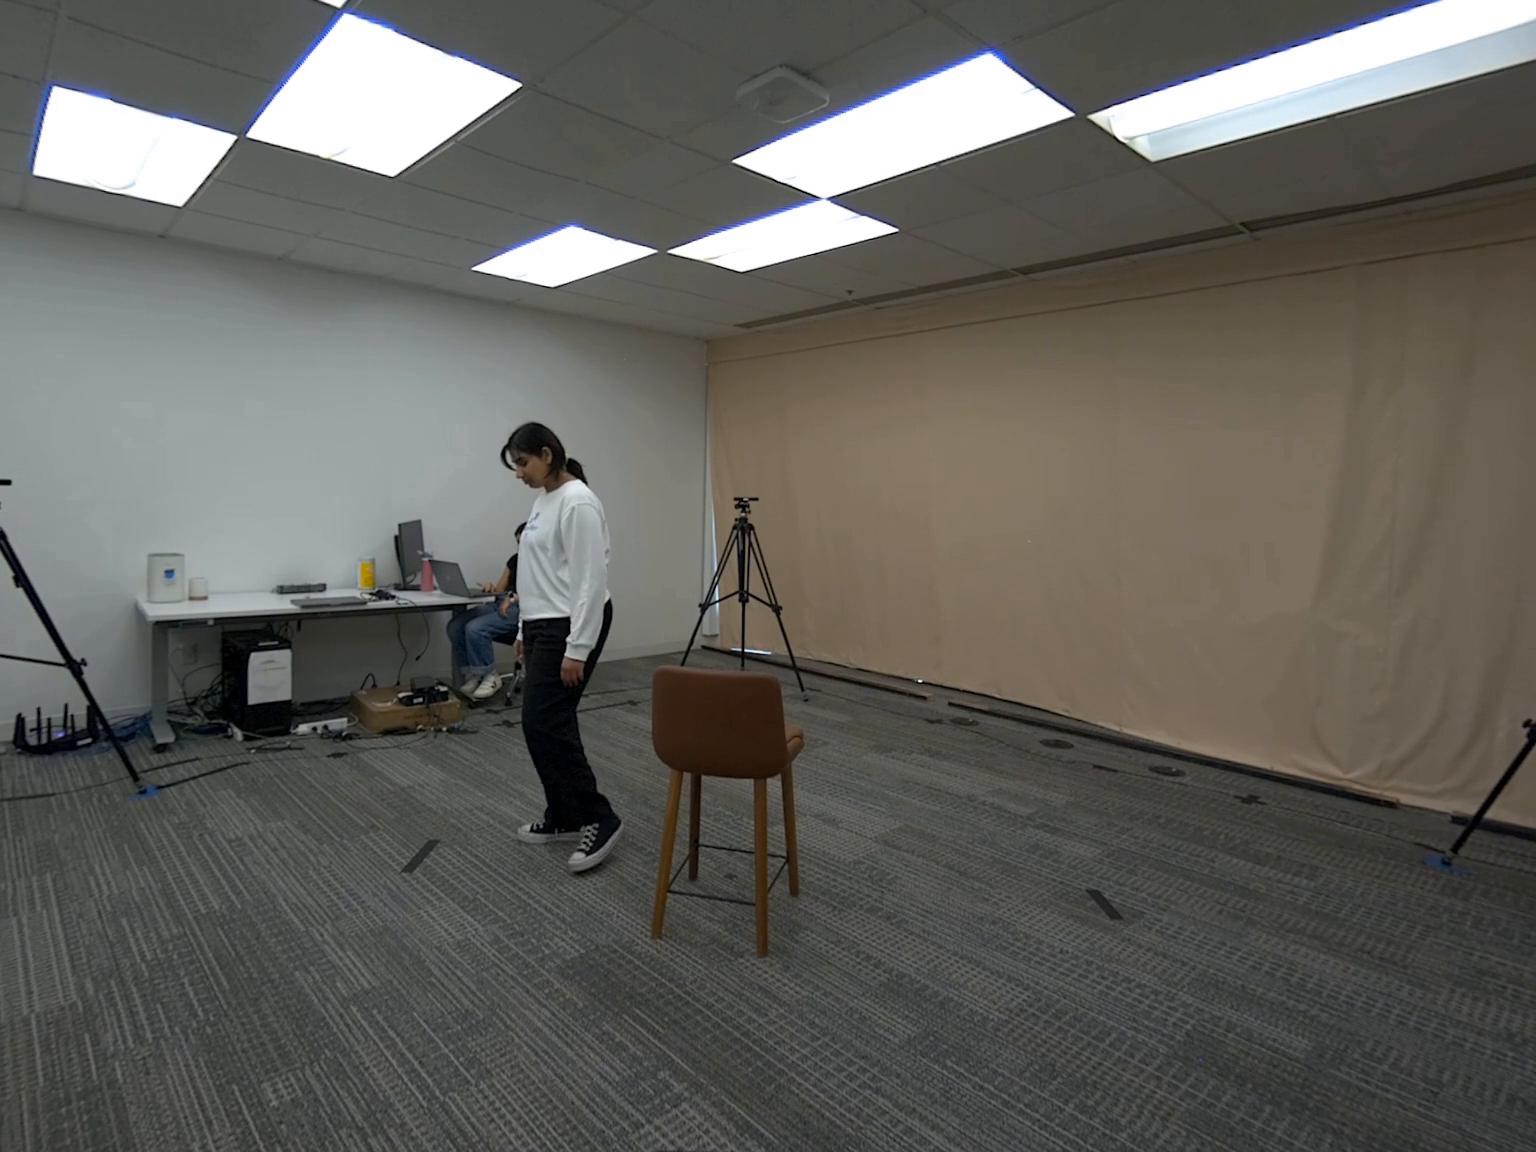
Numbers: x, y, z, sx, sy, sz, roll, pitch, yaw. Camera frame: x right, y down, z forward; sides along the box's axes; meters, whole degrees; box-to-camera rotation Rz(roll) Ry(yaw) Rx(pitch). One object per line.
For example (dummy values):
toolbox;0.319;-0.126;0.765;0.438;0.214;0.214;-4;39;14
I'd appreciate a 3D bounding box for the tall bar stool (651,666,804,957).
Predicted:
tall bar stool;-0.135;0.704;2.788;0.462;0.886;0.463;2;5;15
